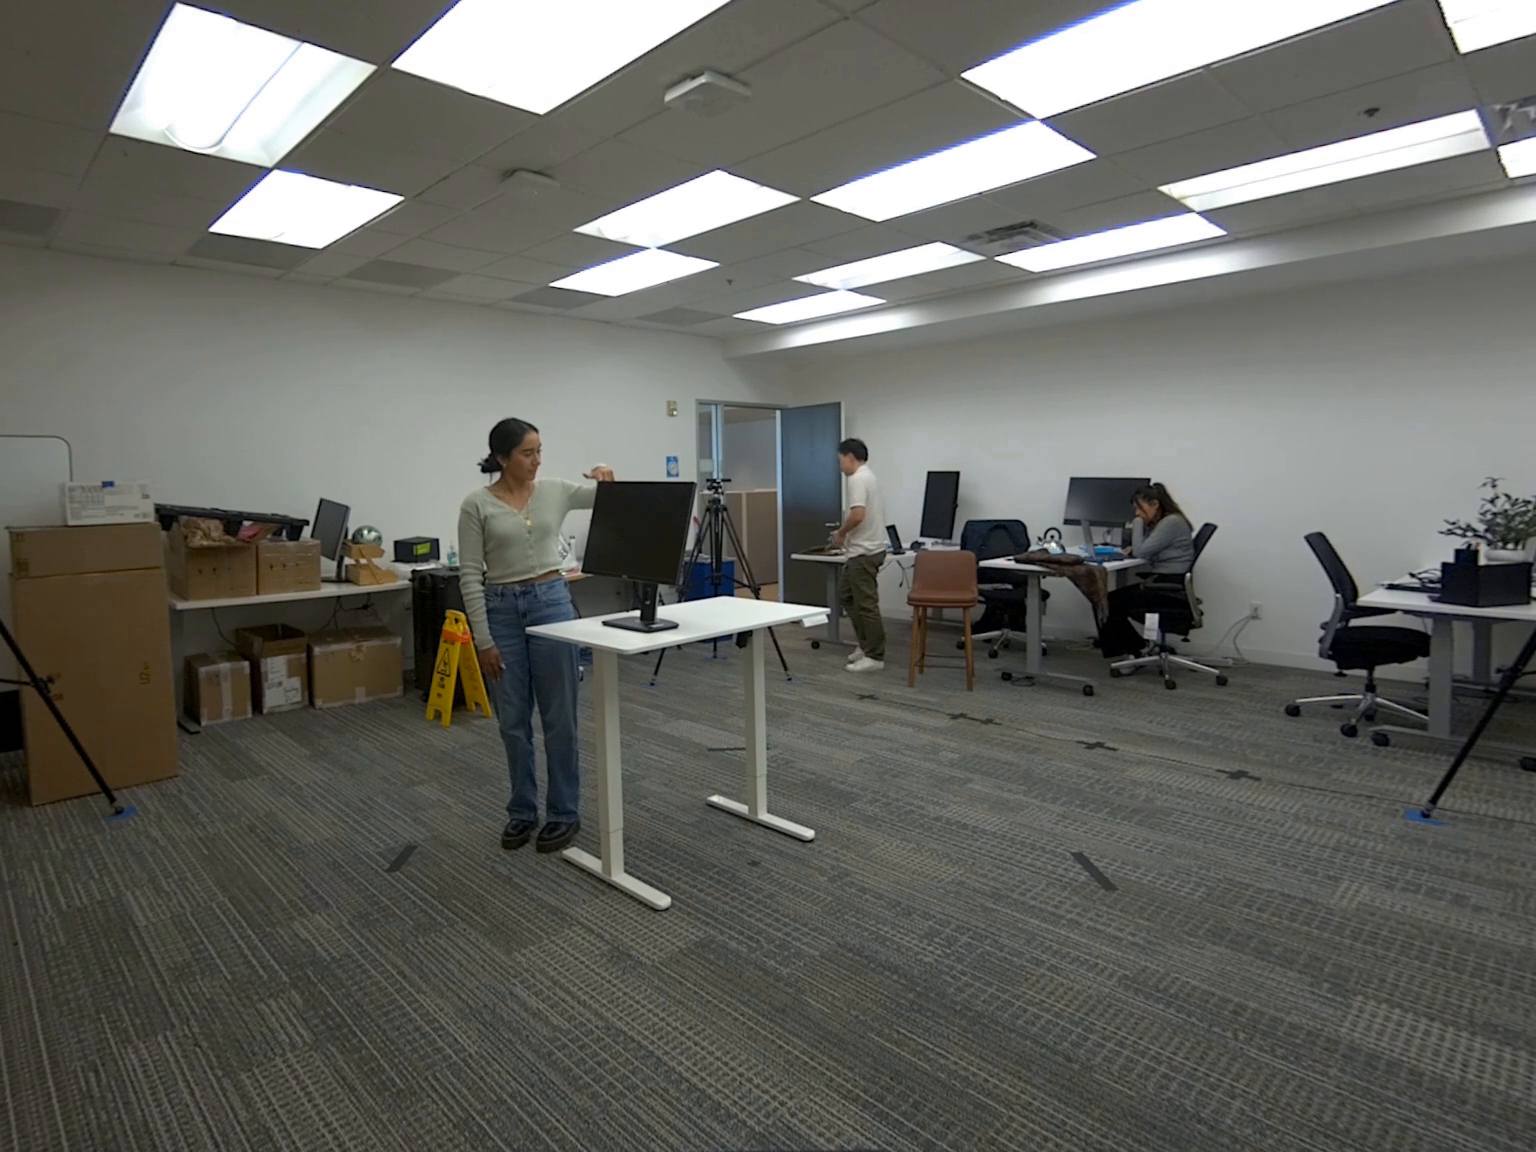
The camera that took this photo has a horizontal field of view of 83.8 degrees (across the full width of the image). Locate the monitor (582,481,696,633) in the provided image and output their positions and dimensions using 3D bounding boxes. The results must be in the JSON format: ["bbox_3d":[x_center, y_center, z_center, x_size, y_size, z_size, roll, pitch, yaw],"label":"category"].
[{"bbox_3d":[-0.434,-0.072,3.037,0.556,0.522,0.182,4,3,45],"label":"monitor"}]
